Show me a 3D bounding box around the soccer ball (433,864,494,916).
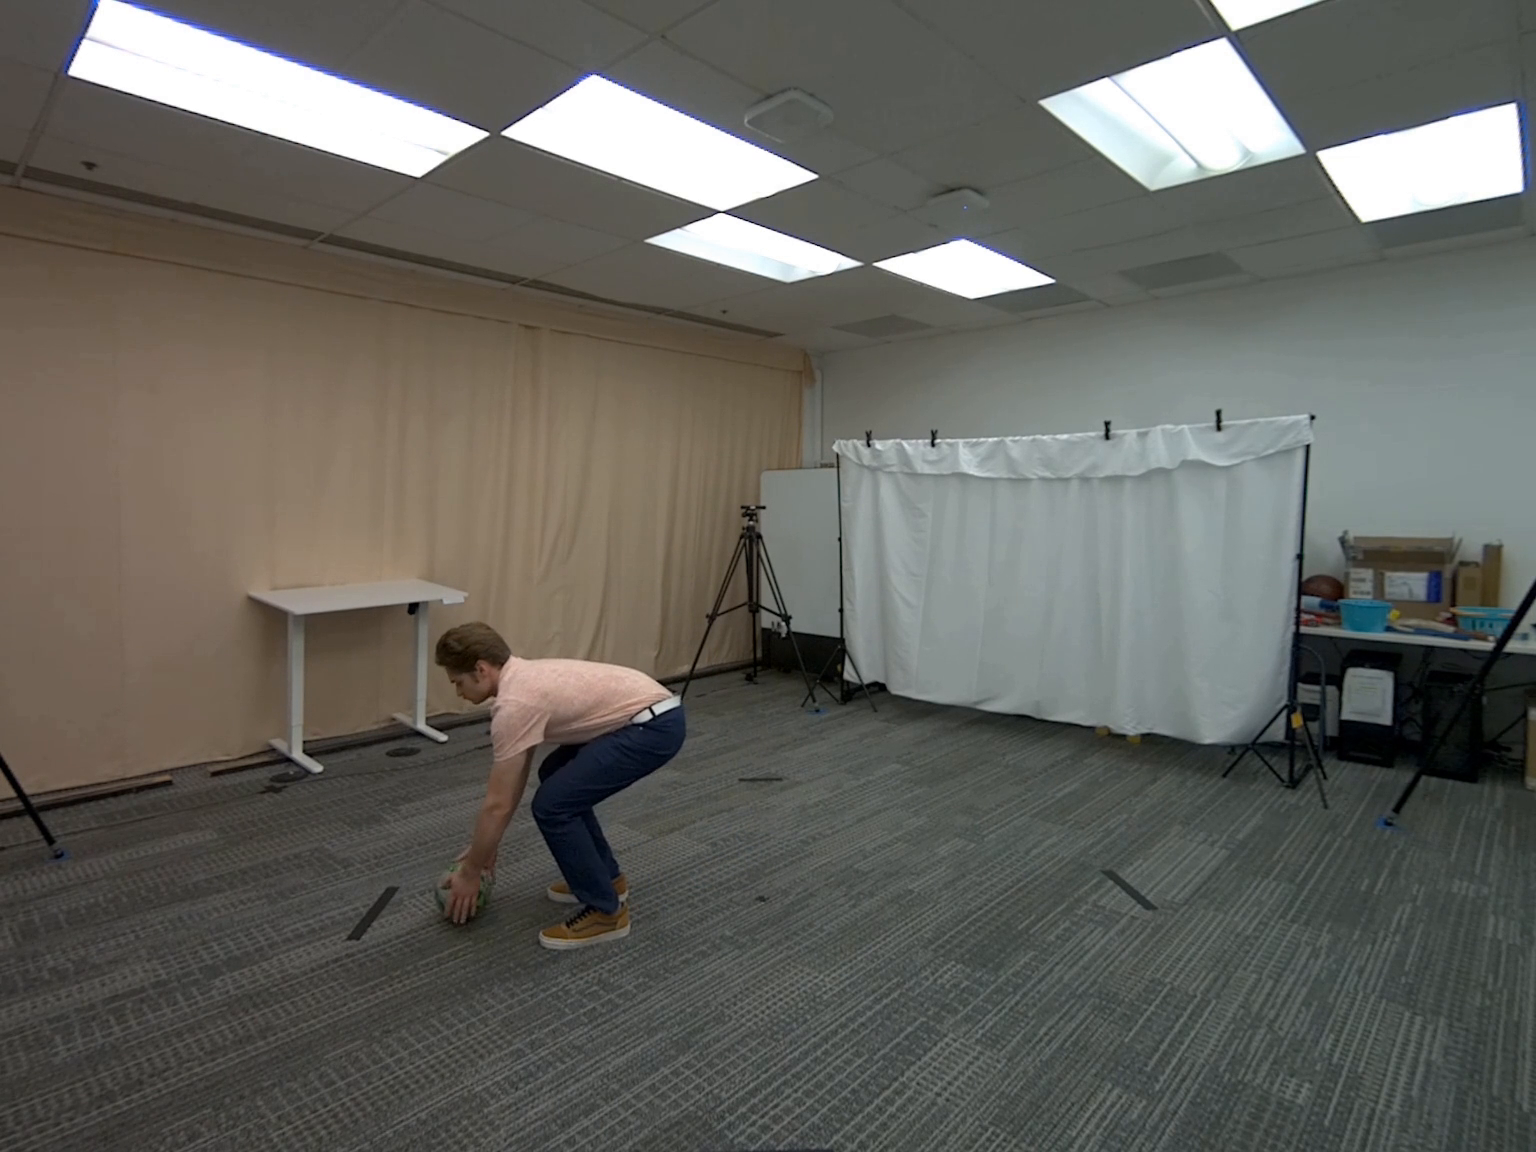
[{"bbox_3d":[-1.040,1.068,2.866,0.187,0.187,0.188,0,4,-2],"label":"soccer ball"}]
